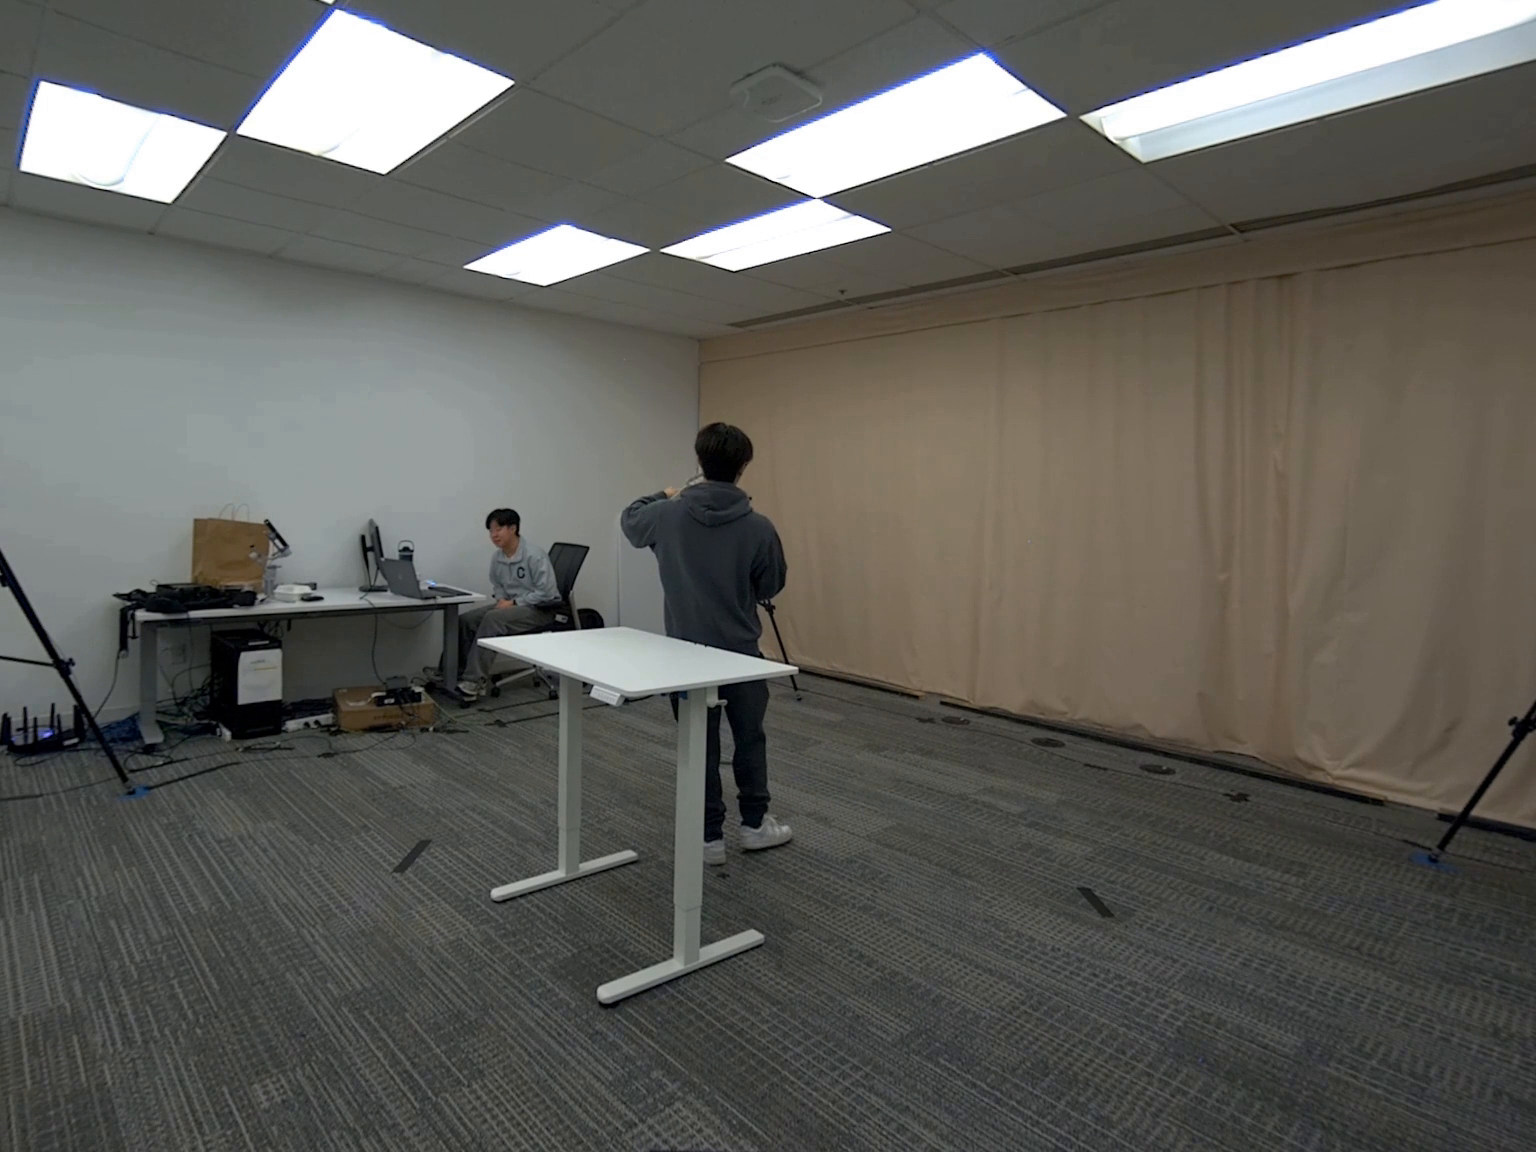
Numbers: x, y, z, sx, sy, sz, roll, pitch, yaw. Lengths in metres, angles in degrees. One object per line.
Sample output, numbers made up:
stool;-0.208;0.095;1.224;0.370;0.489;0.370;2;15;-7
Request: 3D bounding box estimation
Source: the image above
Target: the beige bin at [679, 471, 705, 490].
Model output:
beige bin;-0.207;-0.234;3.618;0.189;0.423;0.376;-39;0;25
